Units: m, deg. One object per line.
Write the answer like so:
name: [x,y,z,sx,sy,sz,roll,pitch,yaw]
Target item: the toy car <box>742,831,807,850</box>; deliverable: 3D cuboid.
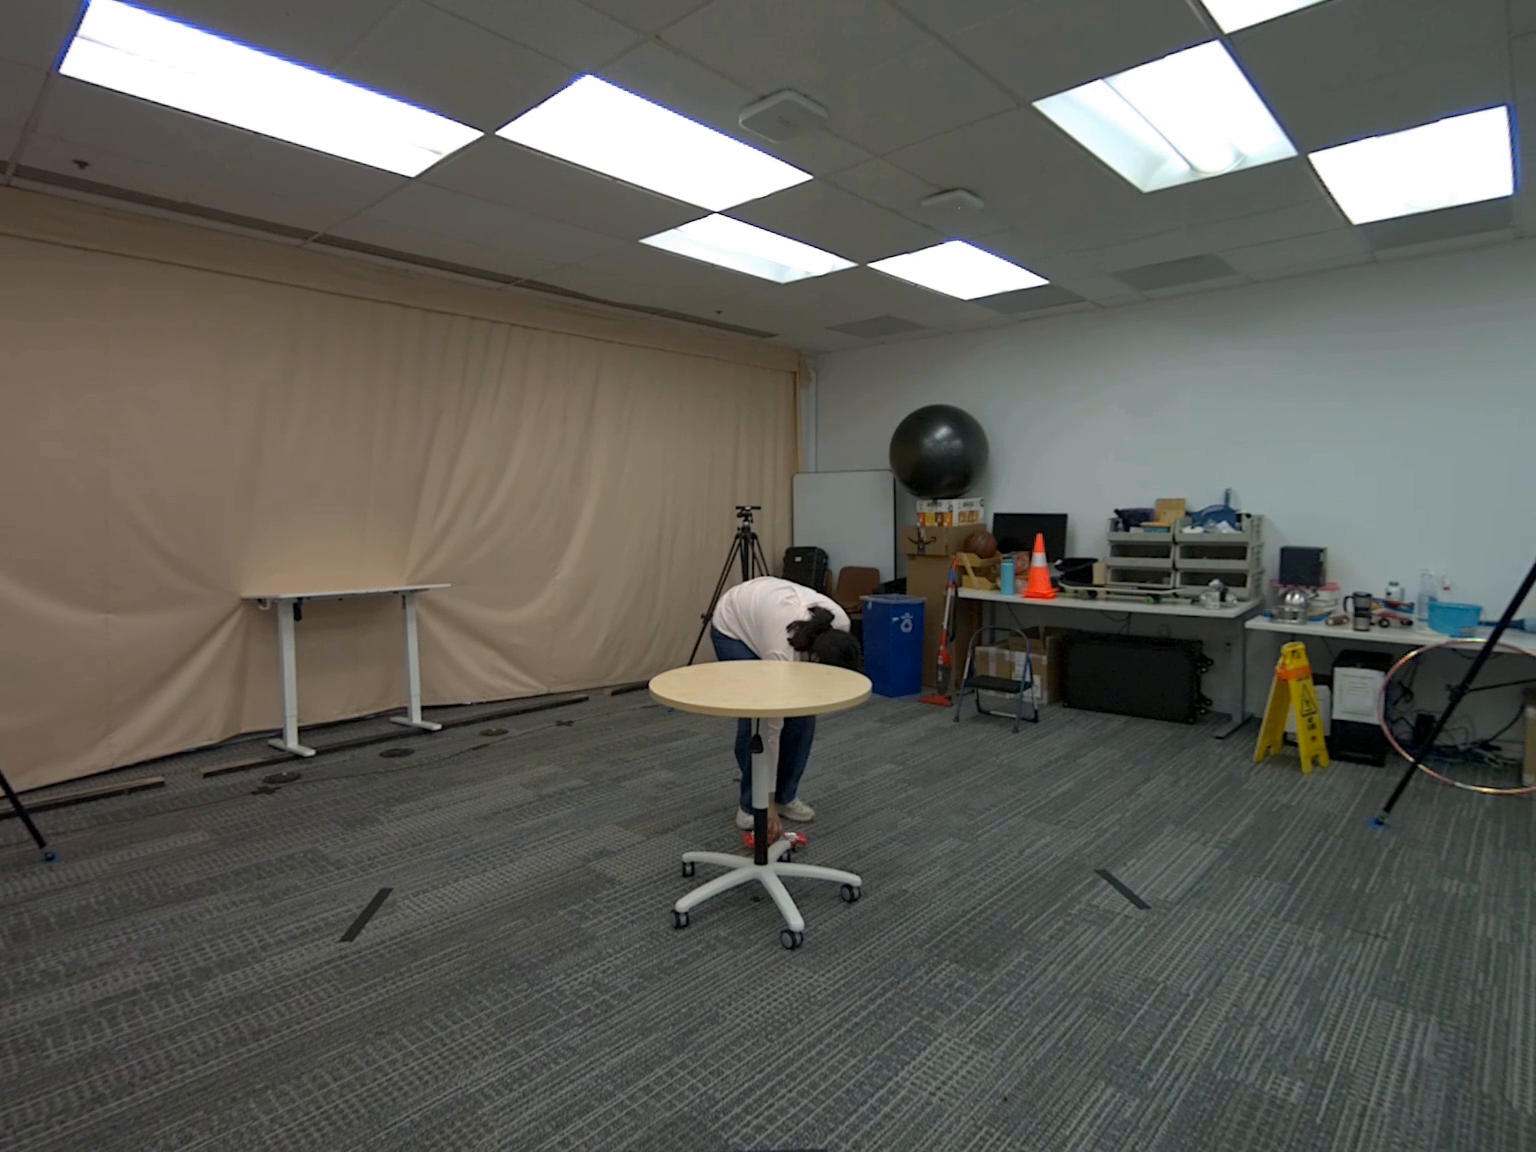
toy car: [0.025,1.070,3.418,0.252,0.083,0.132,8,2,-8]
